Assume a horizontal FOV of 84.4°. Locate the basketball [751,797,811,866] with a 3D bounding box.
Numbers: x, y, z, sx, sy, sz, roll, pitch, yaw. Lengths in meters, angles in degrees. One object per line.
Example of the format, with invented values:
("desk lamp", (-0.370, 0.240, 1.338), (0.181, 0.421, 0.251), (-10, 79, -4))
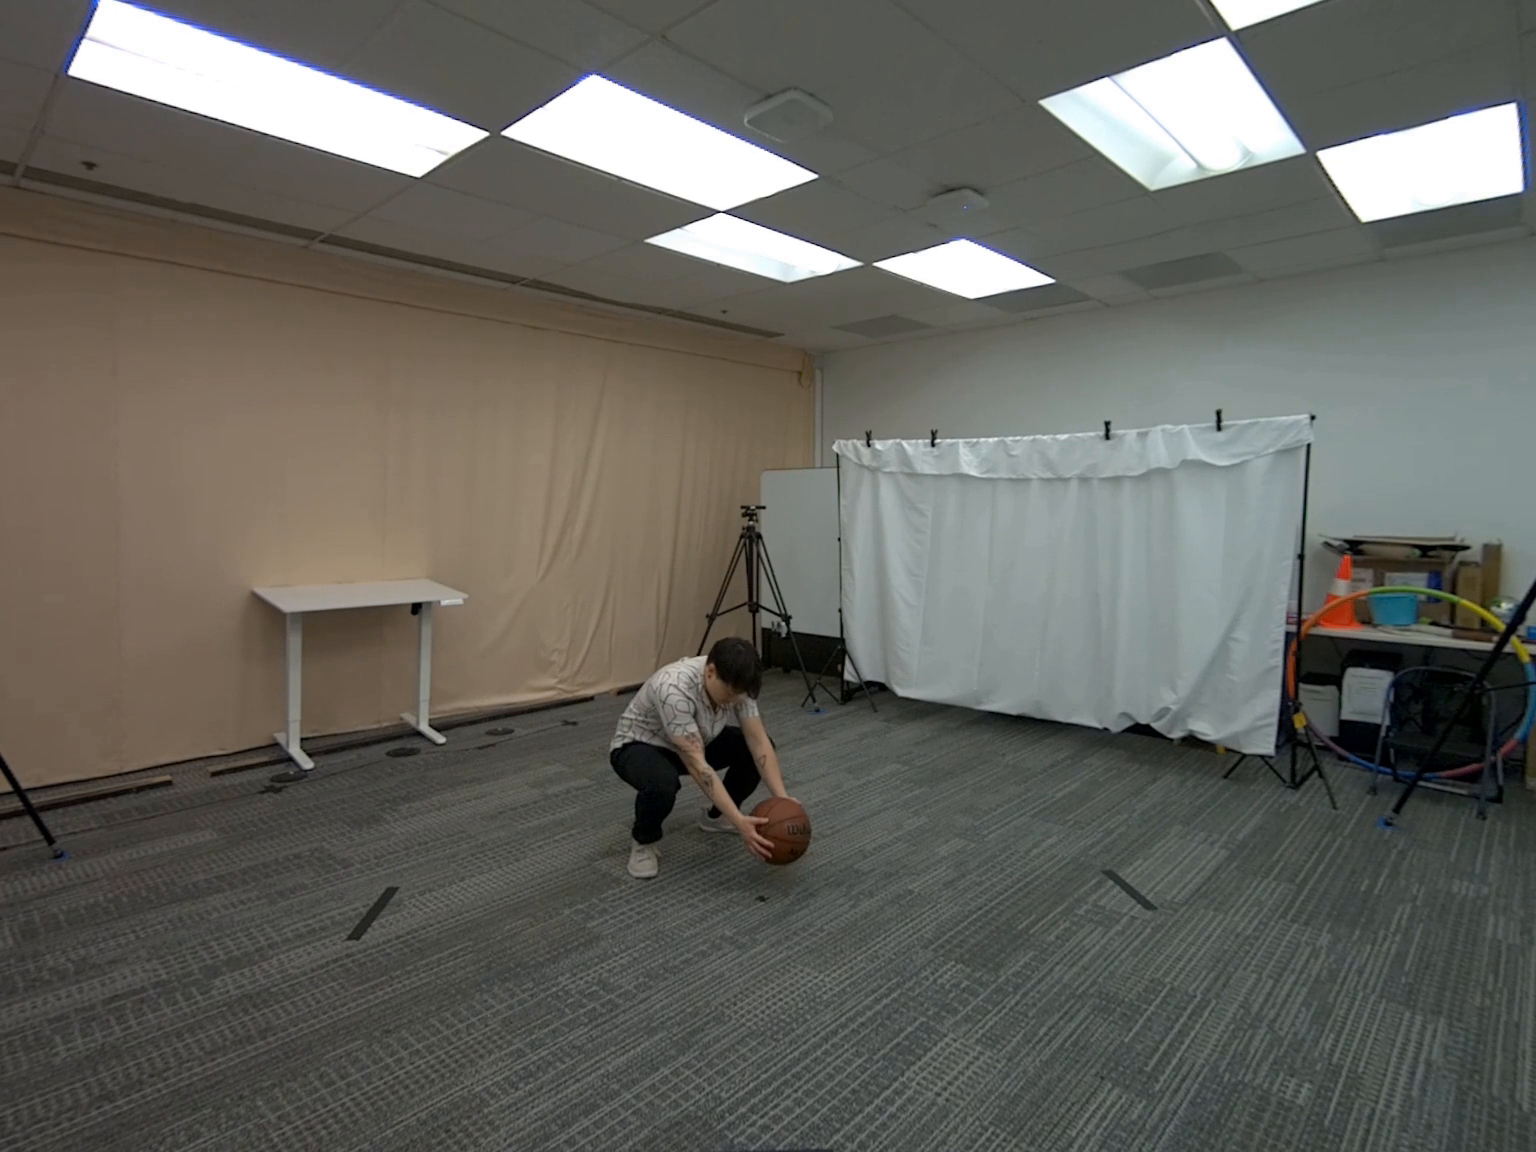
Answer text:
("basketball", (0.033, 0.924, 3.088), (0.236, 0.235, 0.237), (0, 4, -2))
